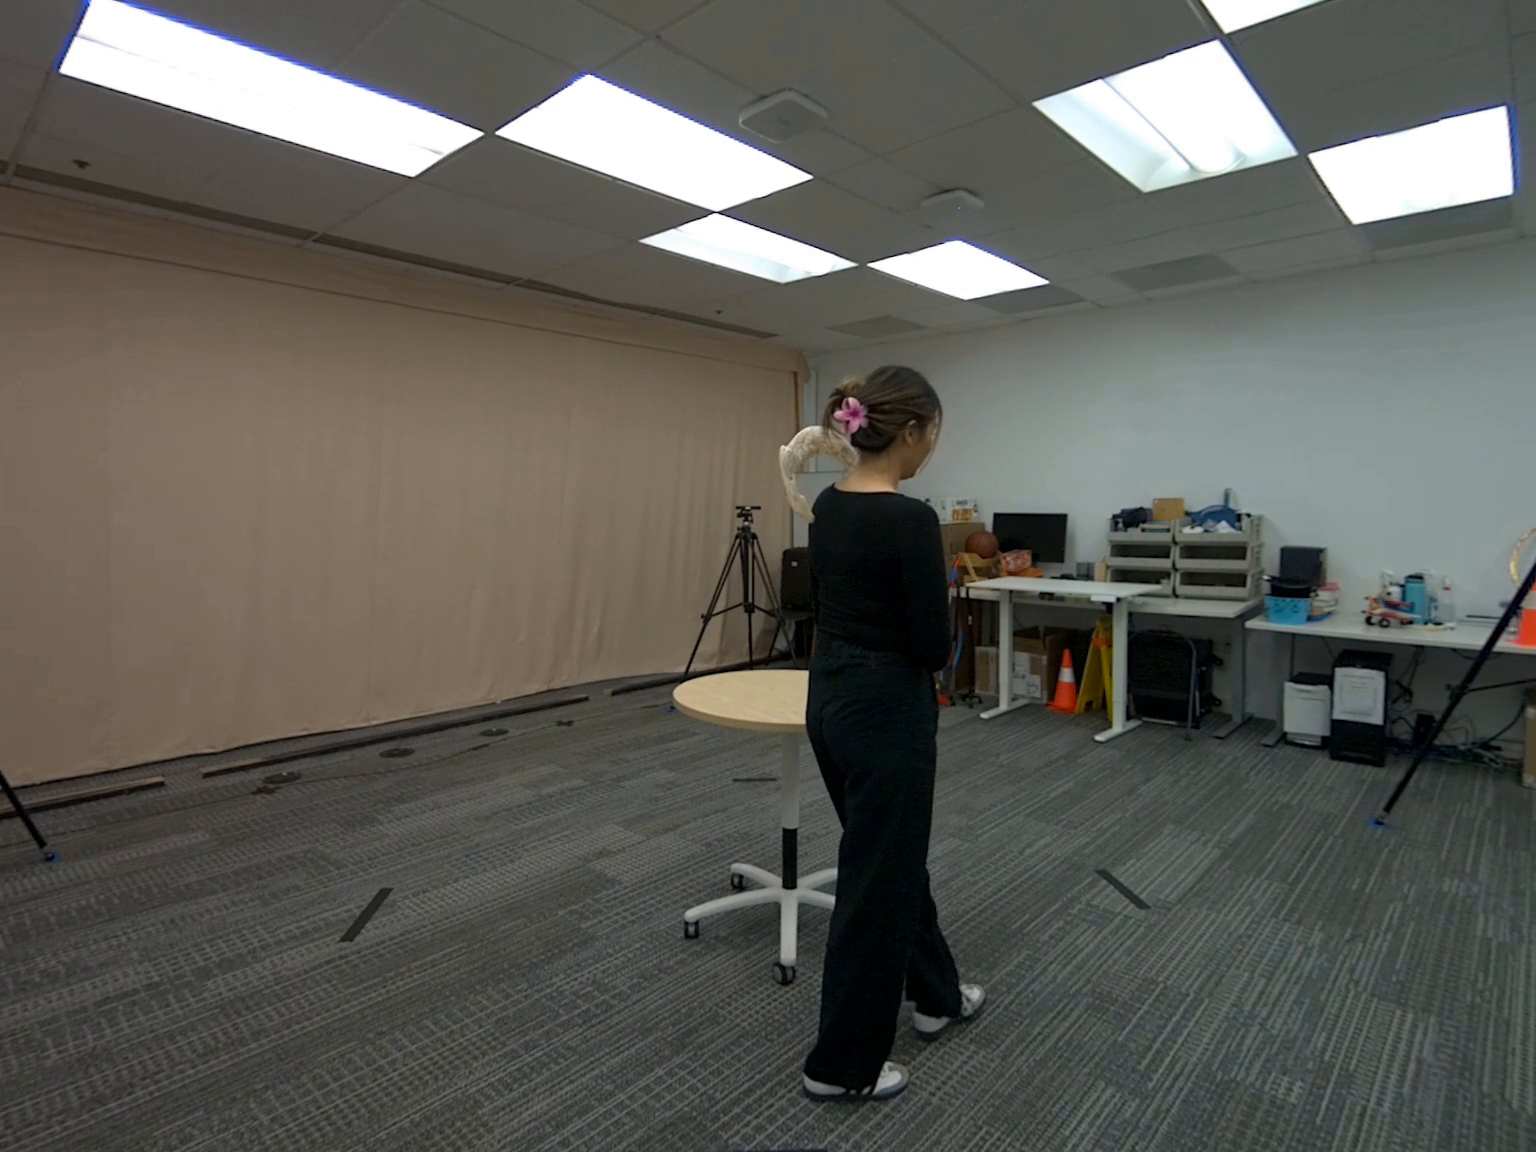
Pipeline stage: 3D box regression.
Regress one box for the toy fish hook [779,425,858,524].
[{"bbox_3d":[0.225,-0.135,2.056,0.223,0.505,0.049,-38,2,-11],"label":"toy fish hook"}]
